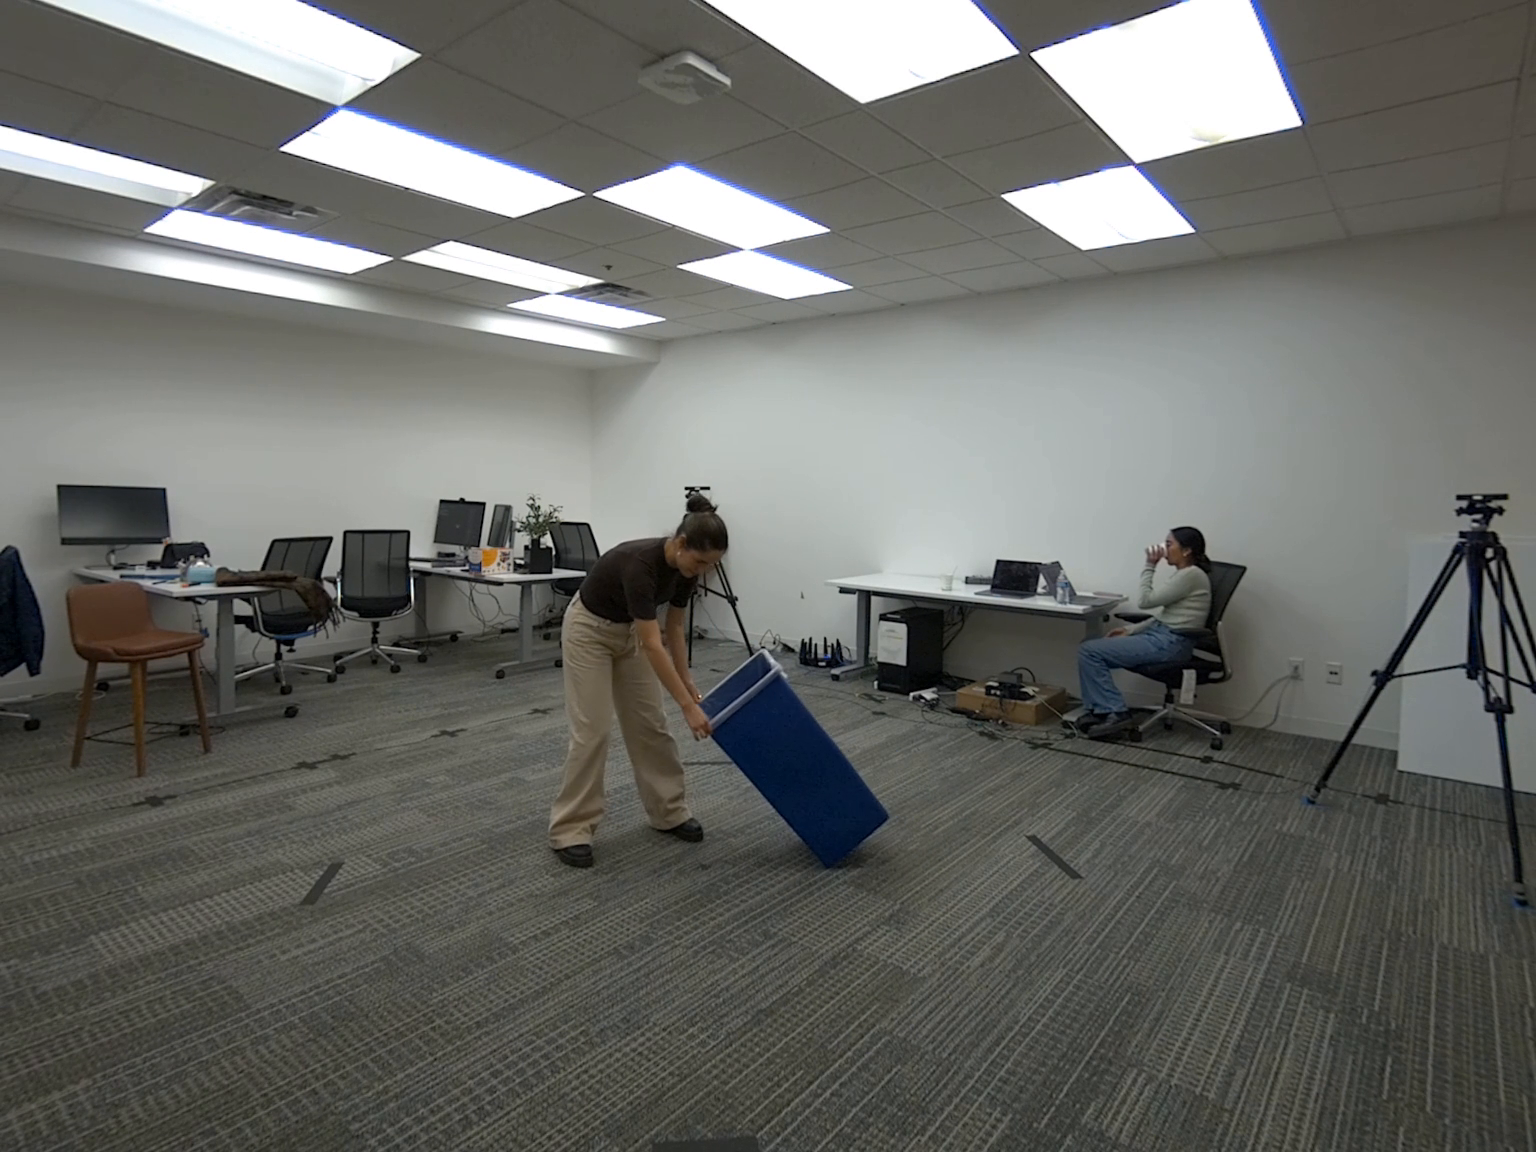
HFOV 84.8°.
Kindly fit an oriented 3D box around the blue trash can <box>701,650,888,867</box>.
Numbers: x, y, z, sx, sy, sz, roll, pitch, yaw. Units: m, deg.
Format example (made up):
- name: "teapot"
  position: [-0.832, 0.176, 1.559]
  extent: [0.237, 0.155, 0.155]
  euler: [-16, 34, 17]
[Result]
- name: "blue trash can"
  position: [0.081, 0.694, 3.221]
  extent: [0.373, 0.708, 0.381]
  euler: [-38, 6, -5]
